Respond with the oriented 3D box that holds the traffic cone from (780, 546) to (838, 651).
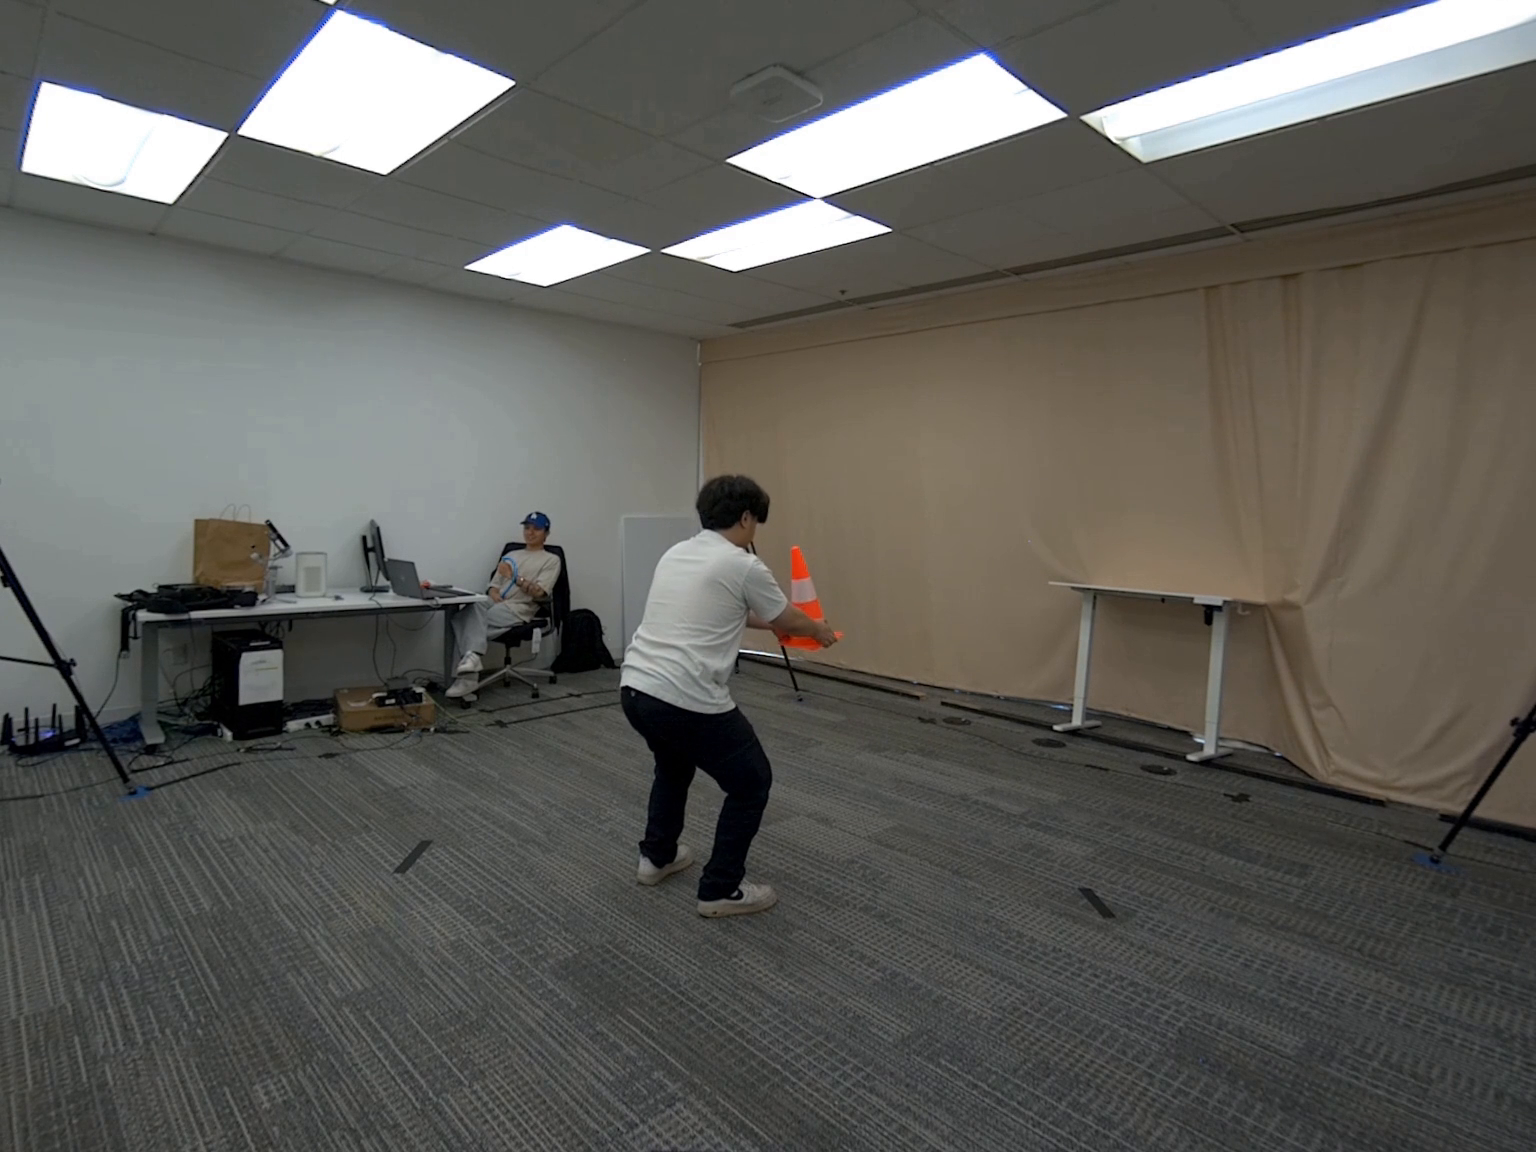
[{"bbox_3d":[0.130,0.071,3.326,0.209,0.380,0.201,-3,11,30],"label":"traffic cone"}]
